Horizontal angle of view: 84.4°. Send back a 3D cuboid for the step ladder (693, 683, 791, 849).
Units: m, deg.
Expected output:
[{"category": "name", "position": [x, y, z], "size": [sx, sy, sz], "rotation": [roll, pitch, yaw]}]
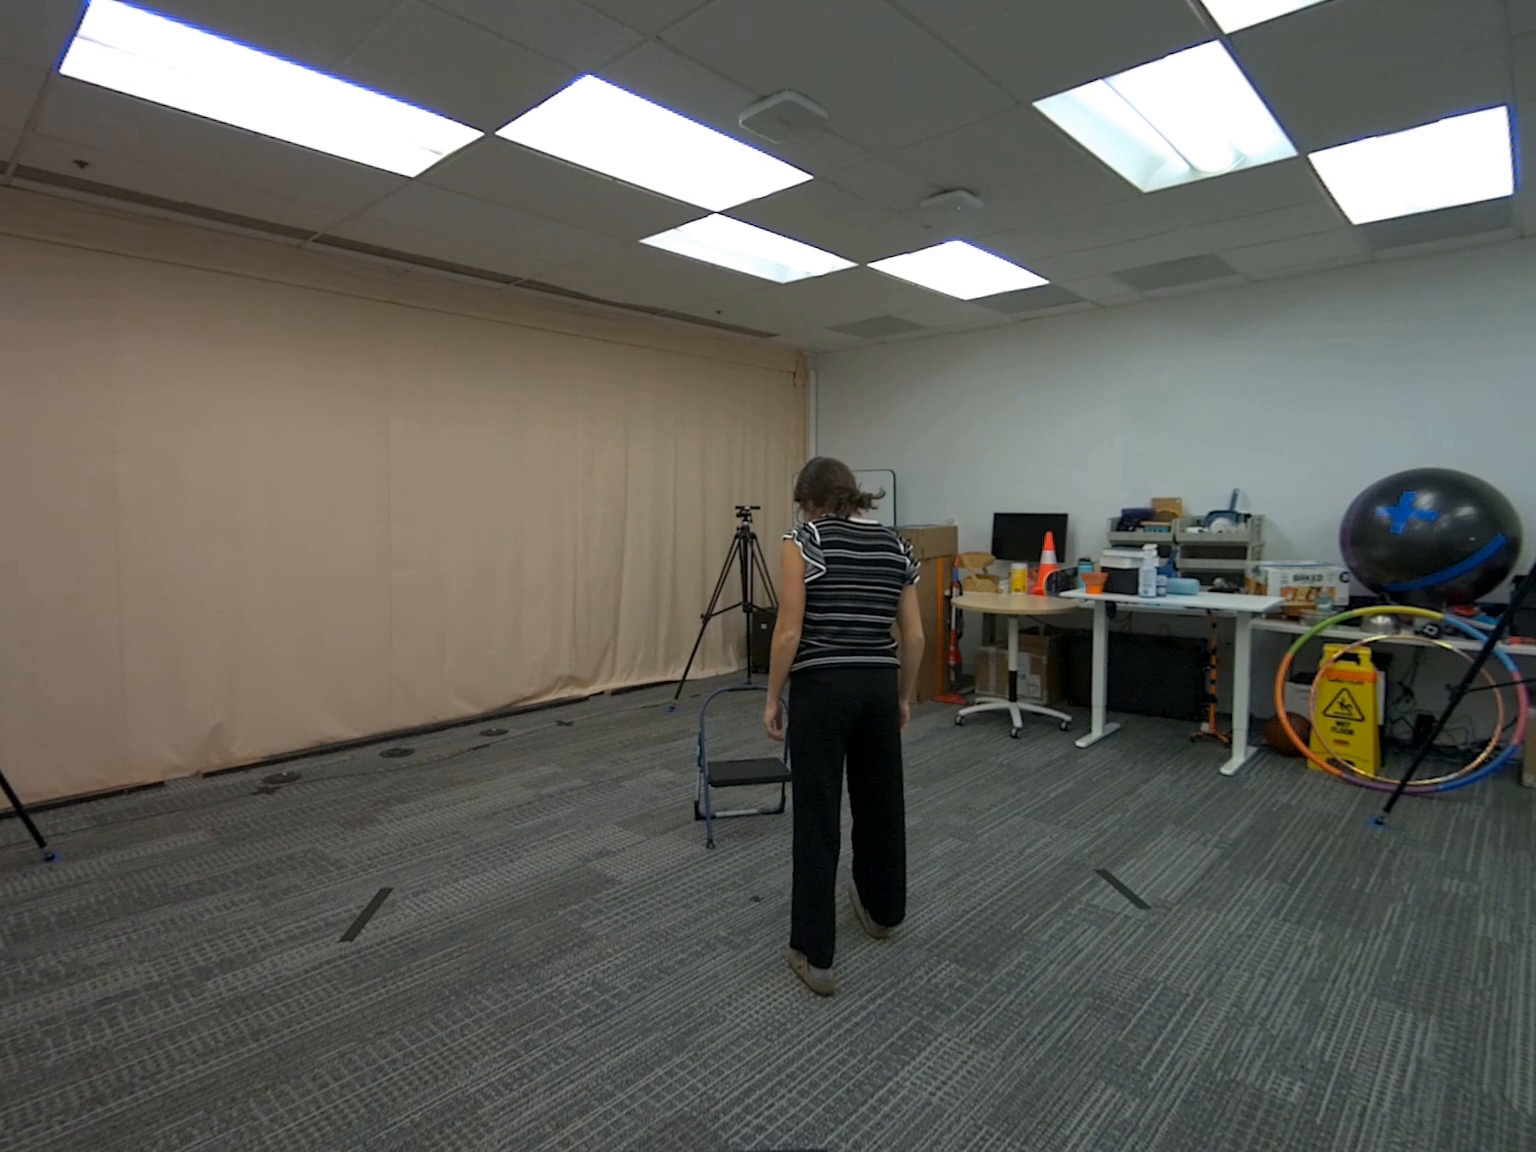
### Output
[{"category": "step ladder", "position": [-0.084, 0.792, 3.620], "size": [0.425, 0.605, 0.355], "rotation": [-1, 3, -13]}]
